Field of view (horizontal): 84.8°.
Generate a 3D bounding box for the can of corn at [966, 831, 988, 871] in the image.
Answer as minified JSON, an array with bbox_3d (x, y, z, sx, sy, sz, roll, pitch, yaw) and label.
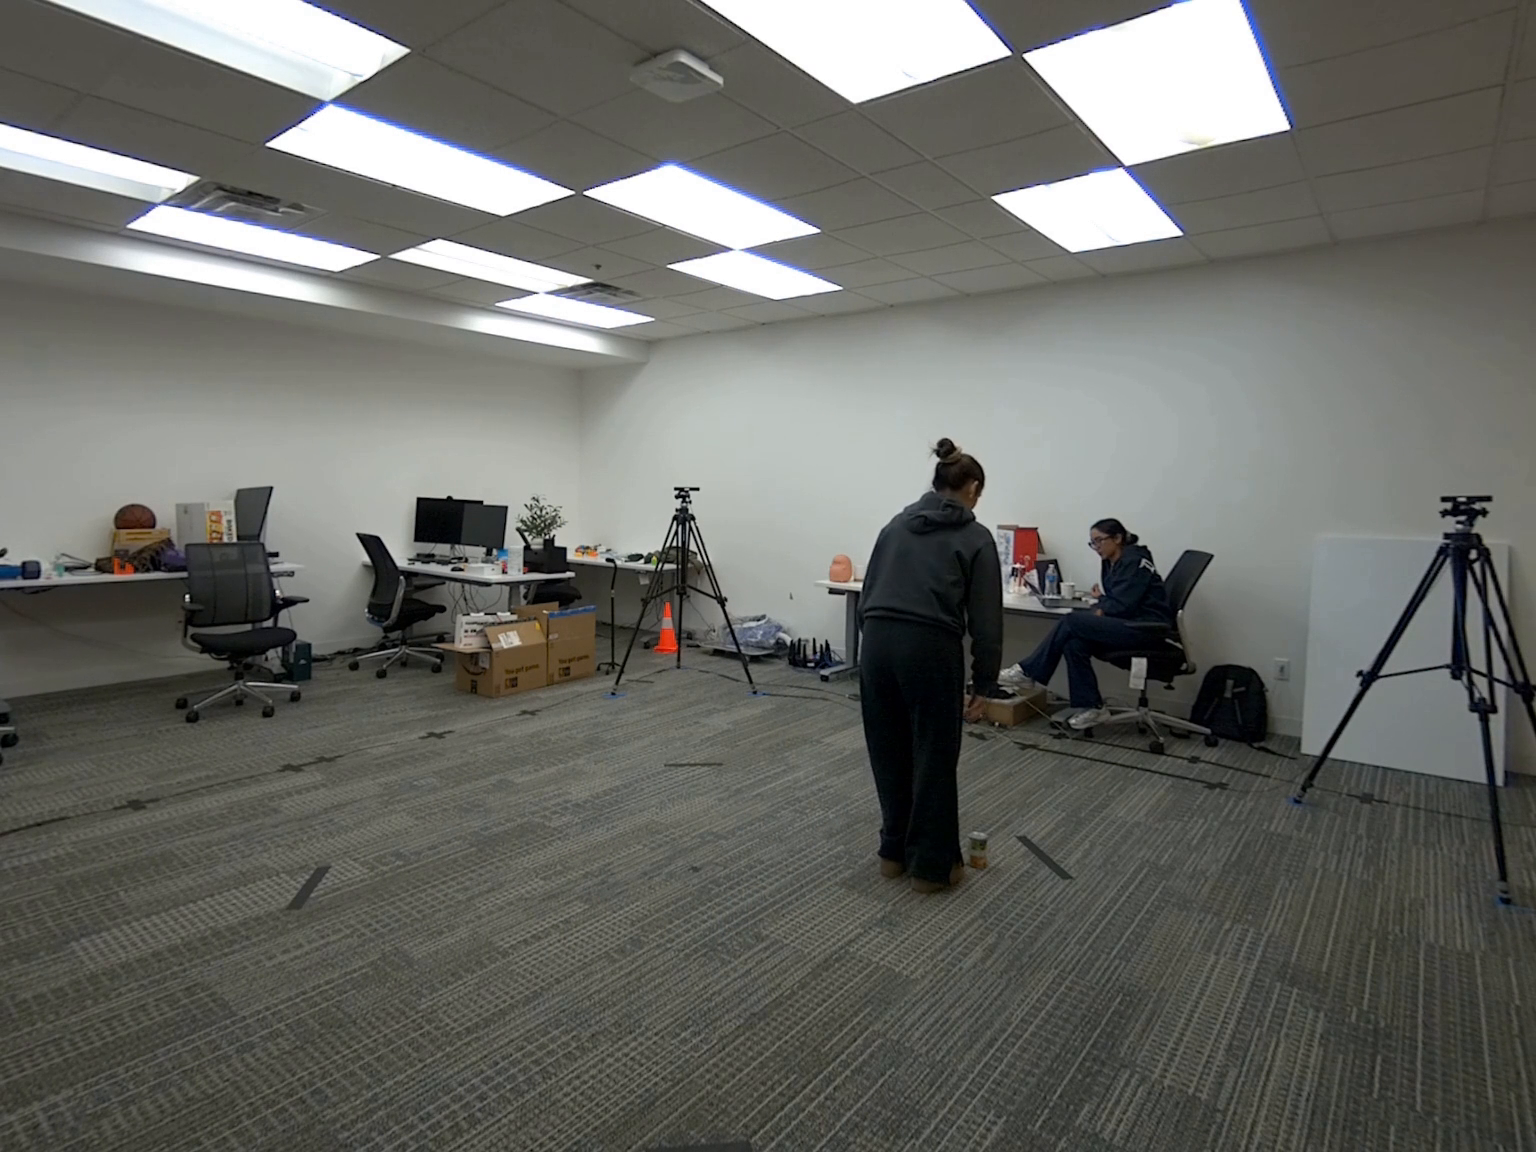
[{"bbox_3d":[0.790,1.028,3.198,0.074,0.111,0.074,-1,3,-2],"label":"can of corn"}]
